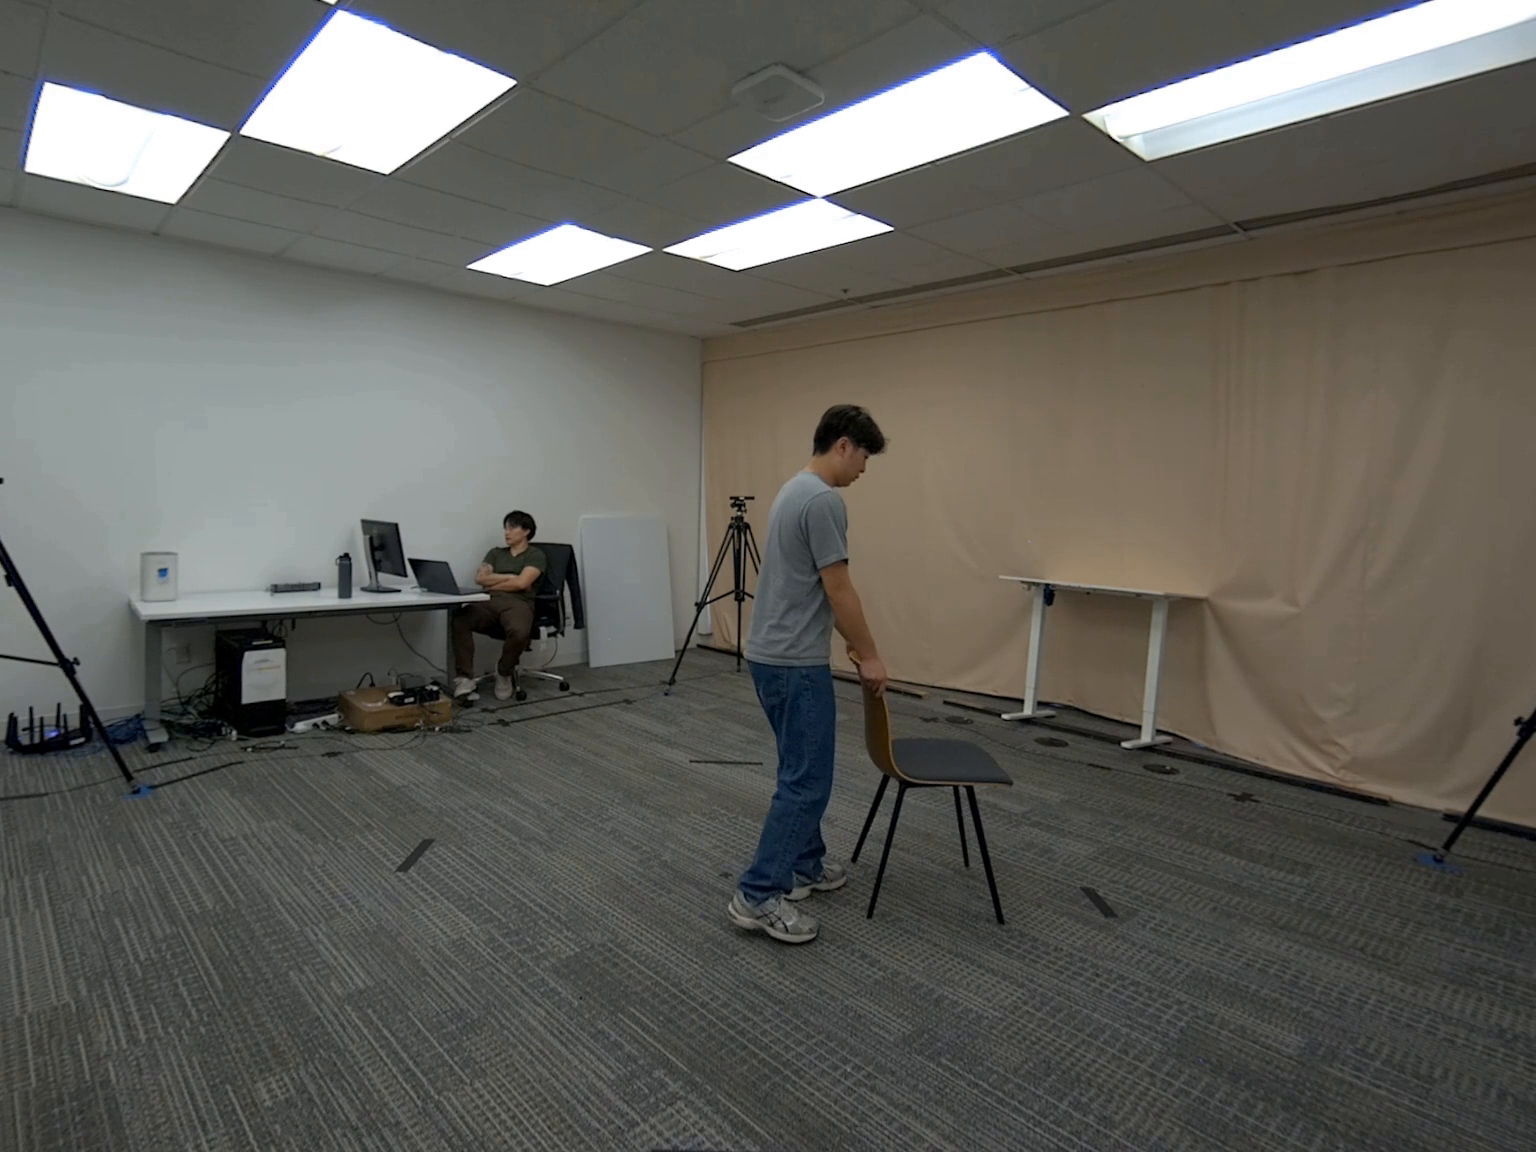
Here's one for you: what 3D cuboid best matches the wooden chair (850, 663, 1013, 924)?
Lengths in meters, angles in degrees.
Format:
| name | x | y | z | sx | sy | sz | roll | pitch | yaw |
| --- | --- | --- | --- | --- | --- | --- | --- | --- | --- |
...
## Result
| name | x | y | z | sx | sy | sz | roll | pitch | yaw |
| --- | --- | --- | --- | --- | --- | --- | --- | --- | --- |
| wooden chair | 0.564 | 0.705 | 2.992 | 0.523 | 0.876 | 0.479 | -2 | 3 | 0 |
